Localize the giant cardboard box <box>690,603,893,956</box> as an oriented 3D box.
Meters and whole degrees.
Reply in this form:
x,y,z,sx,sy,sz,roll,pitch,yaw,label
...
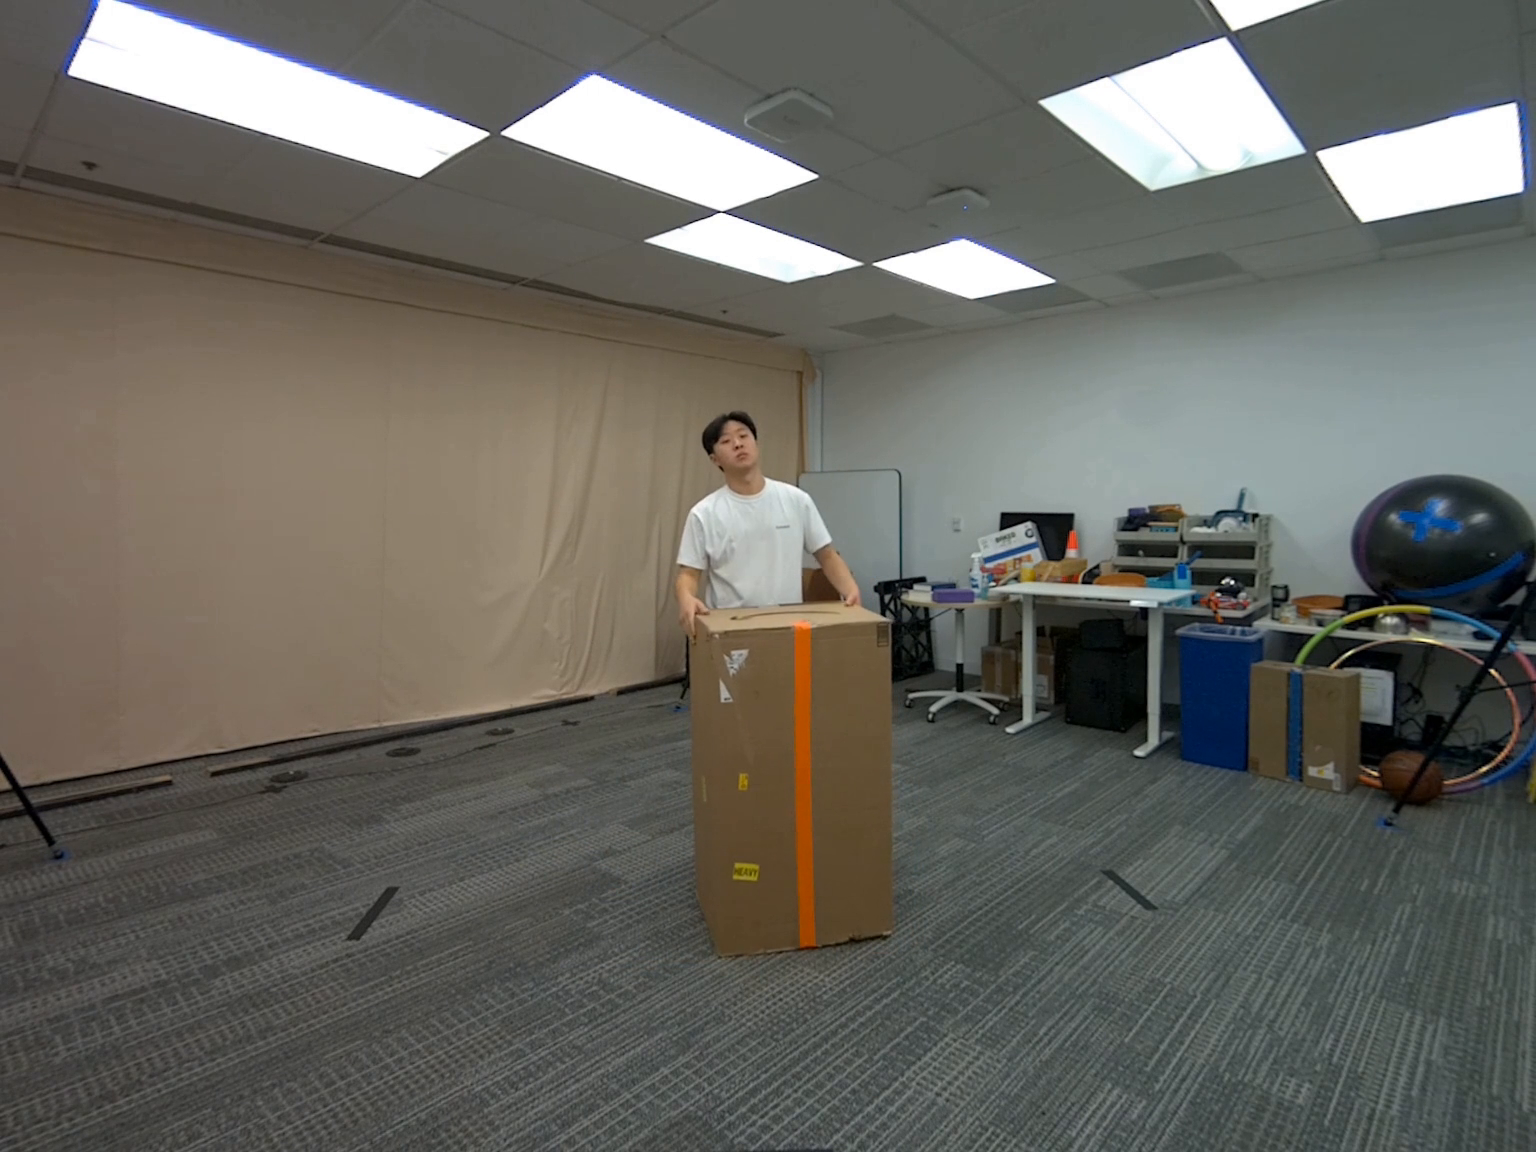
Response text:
x,y,z,sx,sy,sz,roll,pitch,yaw,label
0.062,0.636,2.807,0.571,1.023,0.432,-2,5,-11,giant cardboard box
